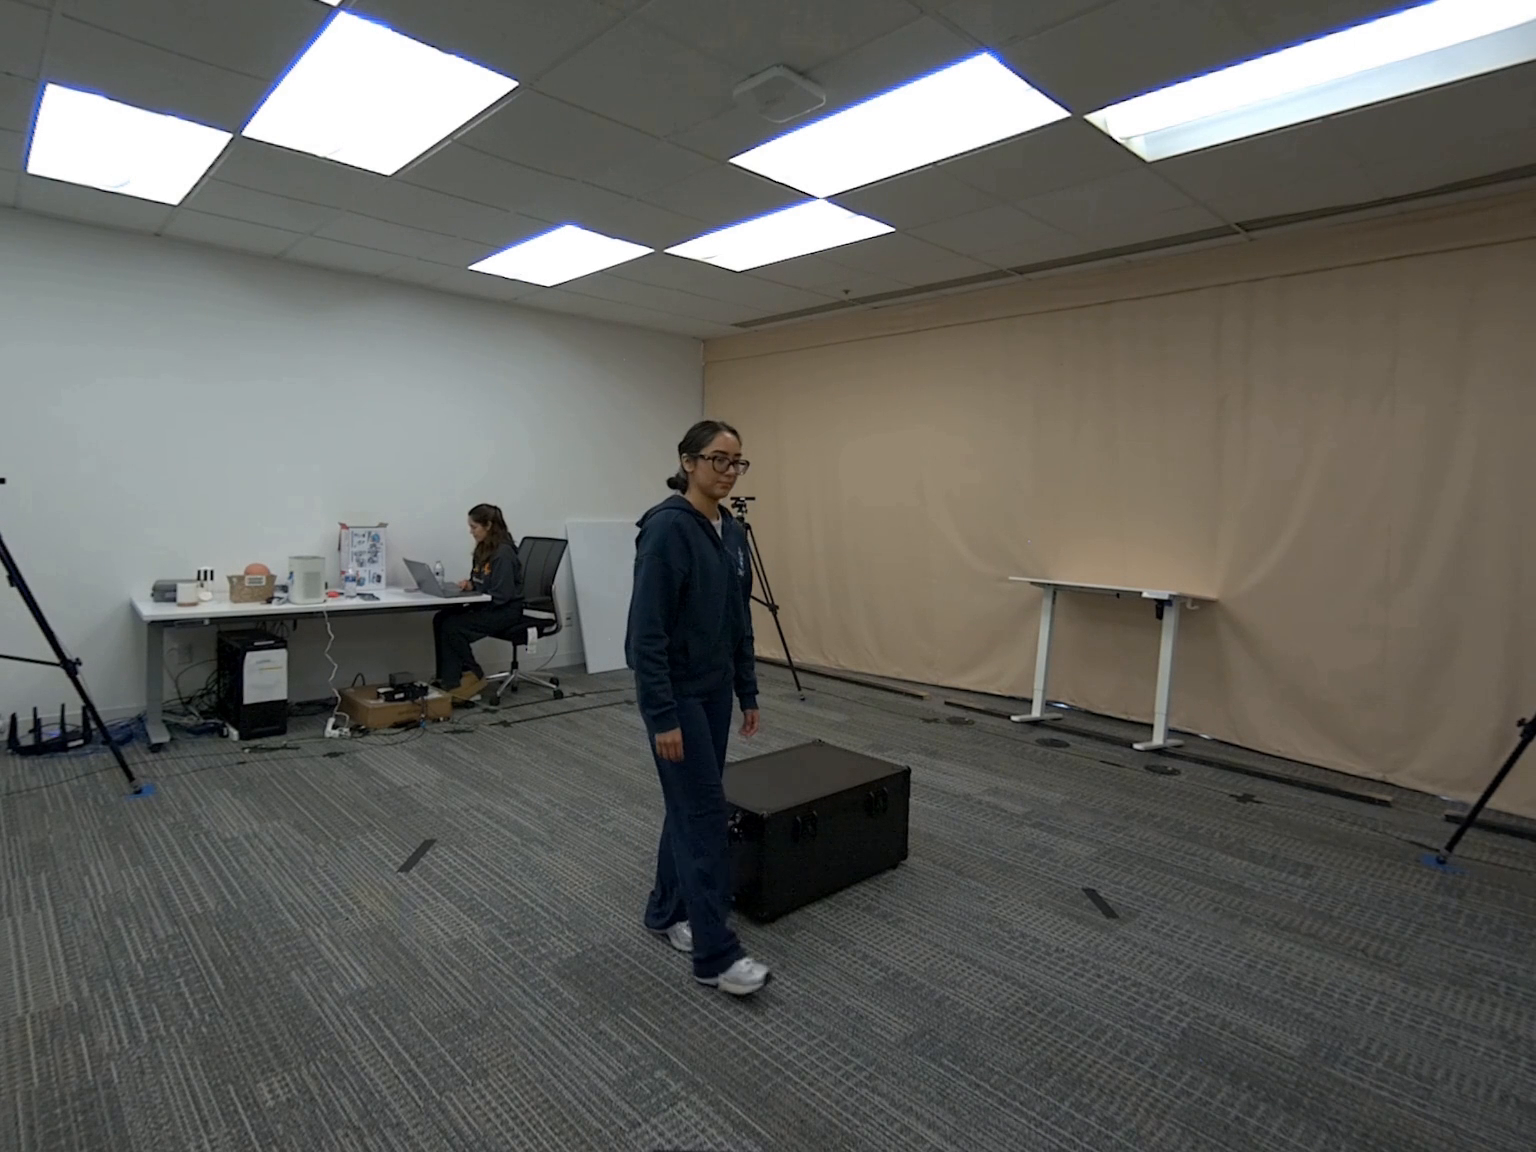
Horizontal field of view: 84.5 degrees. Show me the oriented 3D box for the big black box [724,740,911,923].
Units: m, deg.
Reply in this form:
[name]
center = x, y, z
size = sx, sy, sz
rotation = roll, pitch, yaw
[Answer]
[big black box]
center = 0.068, 0.920, 3.126
size = 0.842, 0.395, 0.534
rotation = -3, 6, -44
